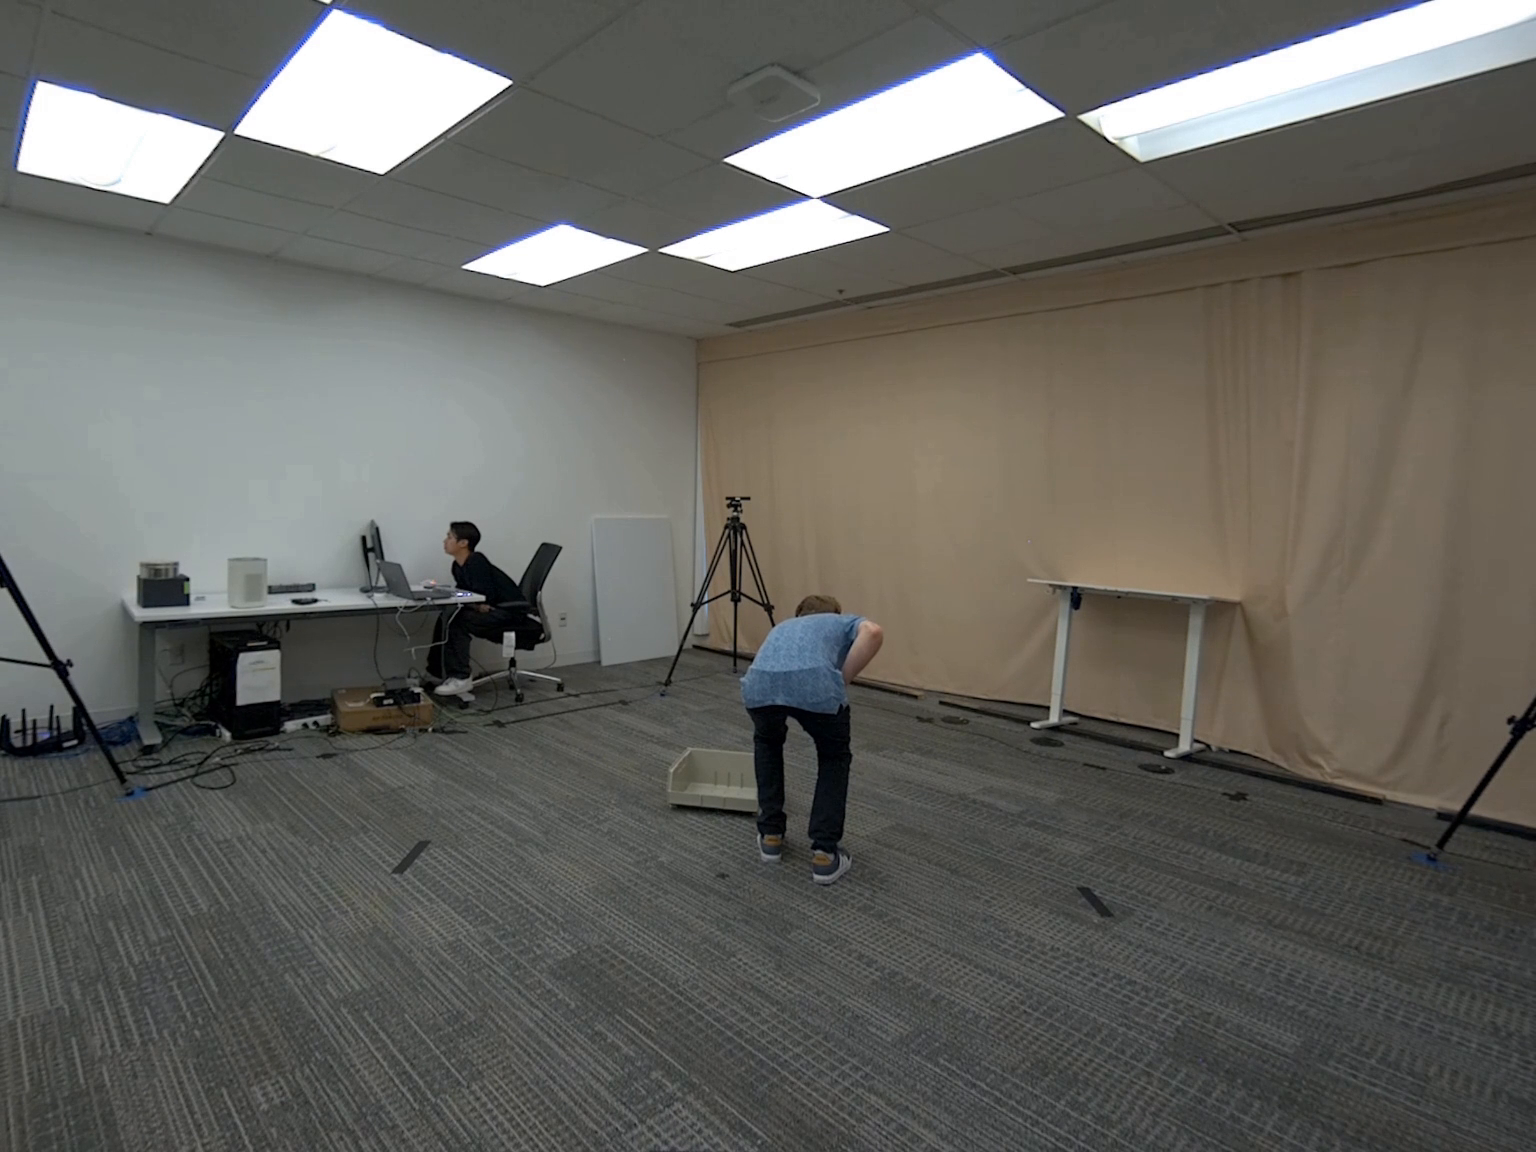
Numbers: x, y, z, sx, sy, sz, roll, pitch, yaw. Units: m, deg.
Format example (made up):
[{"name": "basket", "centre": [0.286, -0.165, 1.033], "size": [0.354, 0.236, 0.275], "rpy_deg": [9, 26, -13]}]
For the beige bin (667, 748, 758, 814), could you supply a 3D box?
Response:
[{"name": "beige bin", "centre": [-0.221, 0.948, 3.879], "size": [0.426, 0.188, 0.375], "rpy_deg": [2, 4, 10]}]
